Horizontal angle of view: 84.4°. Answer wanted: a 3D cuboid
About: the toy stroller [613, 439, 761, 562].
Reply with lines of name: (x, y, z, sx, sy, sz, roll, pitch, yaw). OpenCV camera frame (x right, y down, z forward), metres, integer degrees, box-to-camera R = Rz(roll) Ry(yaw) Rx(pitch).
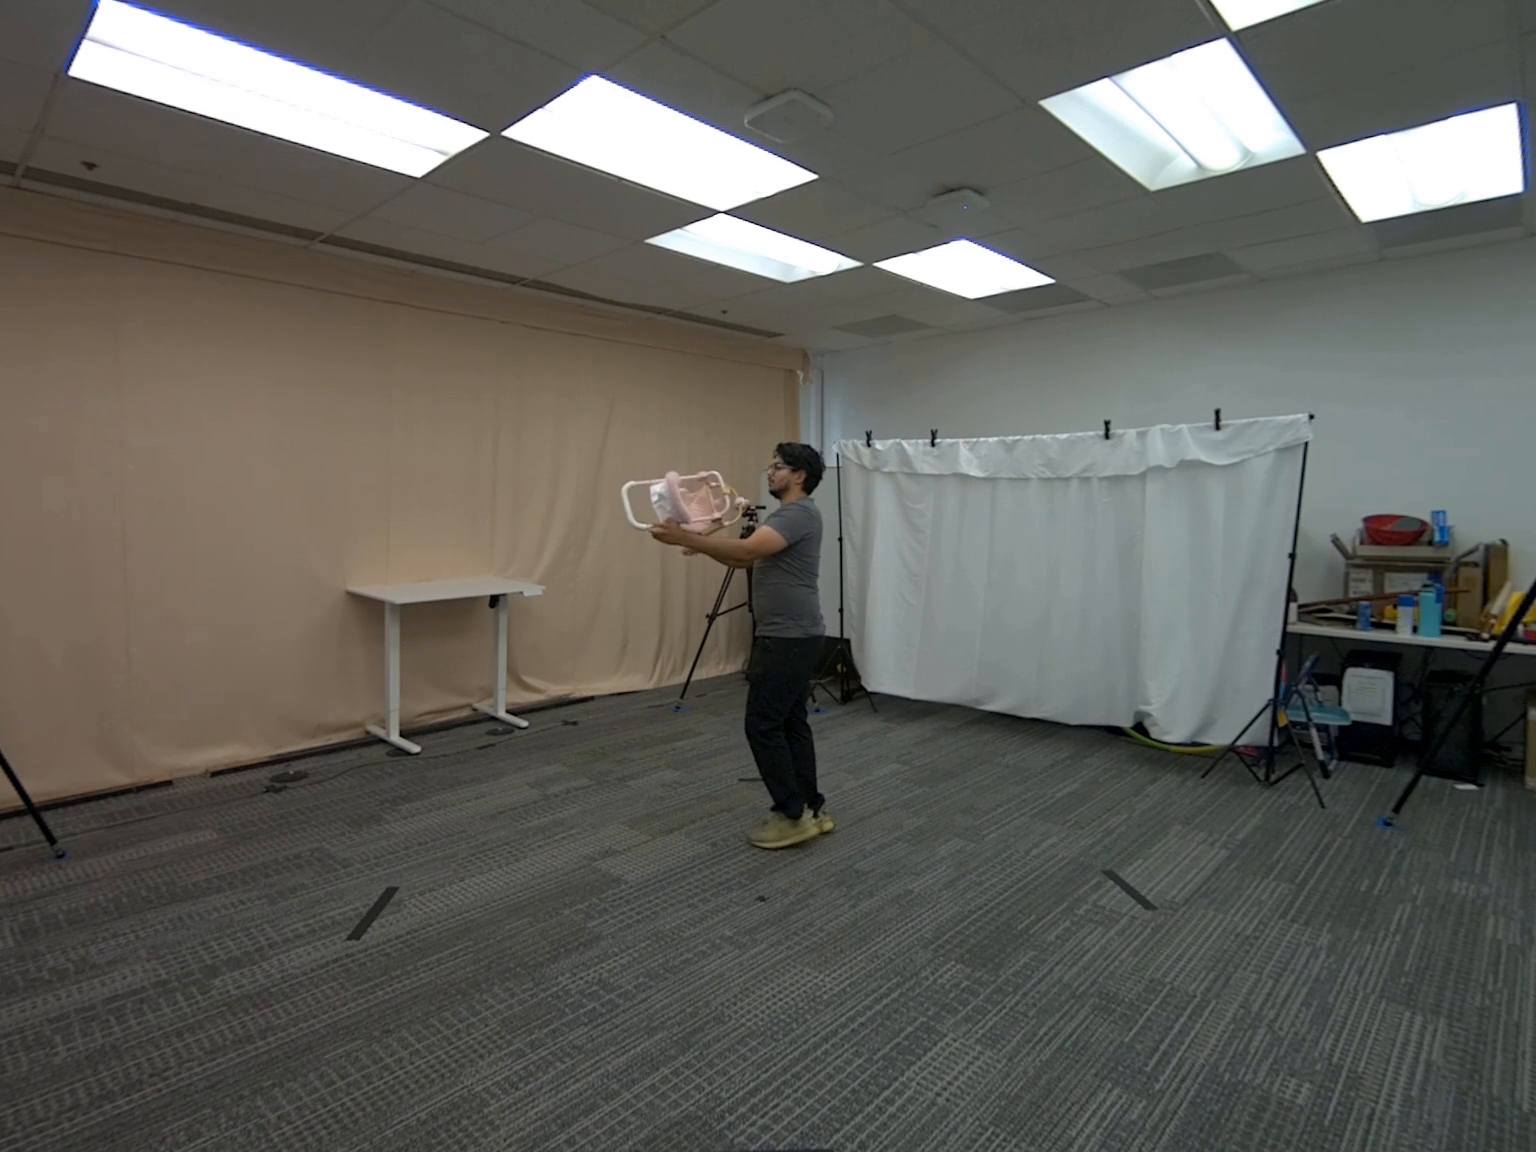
toy stroller: (-0.311, -0.287, 3.422, 0.347, 0.285, 0.519, -20, -16, 20)
